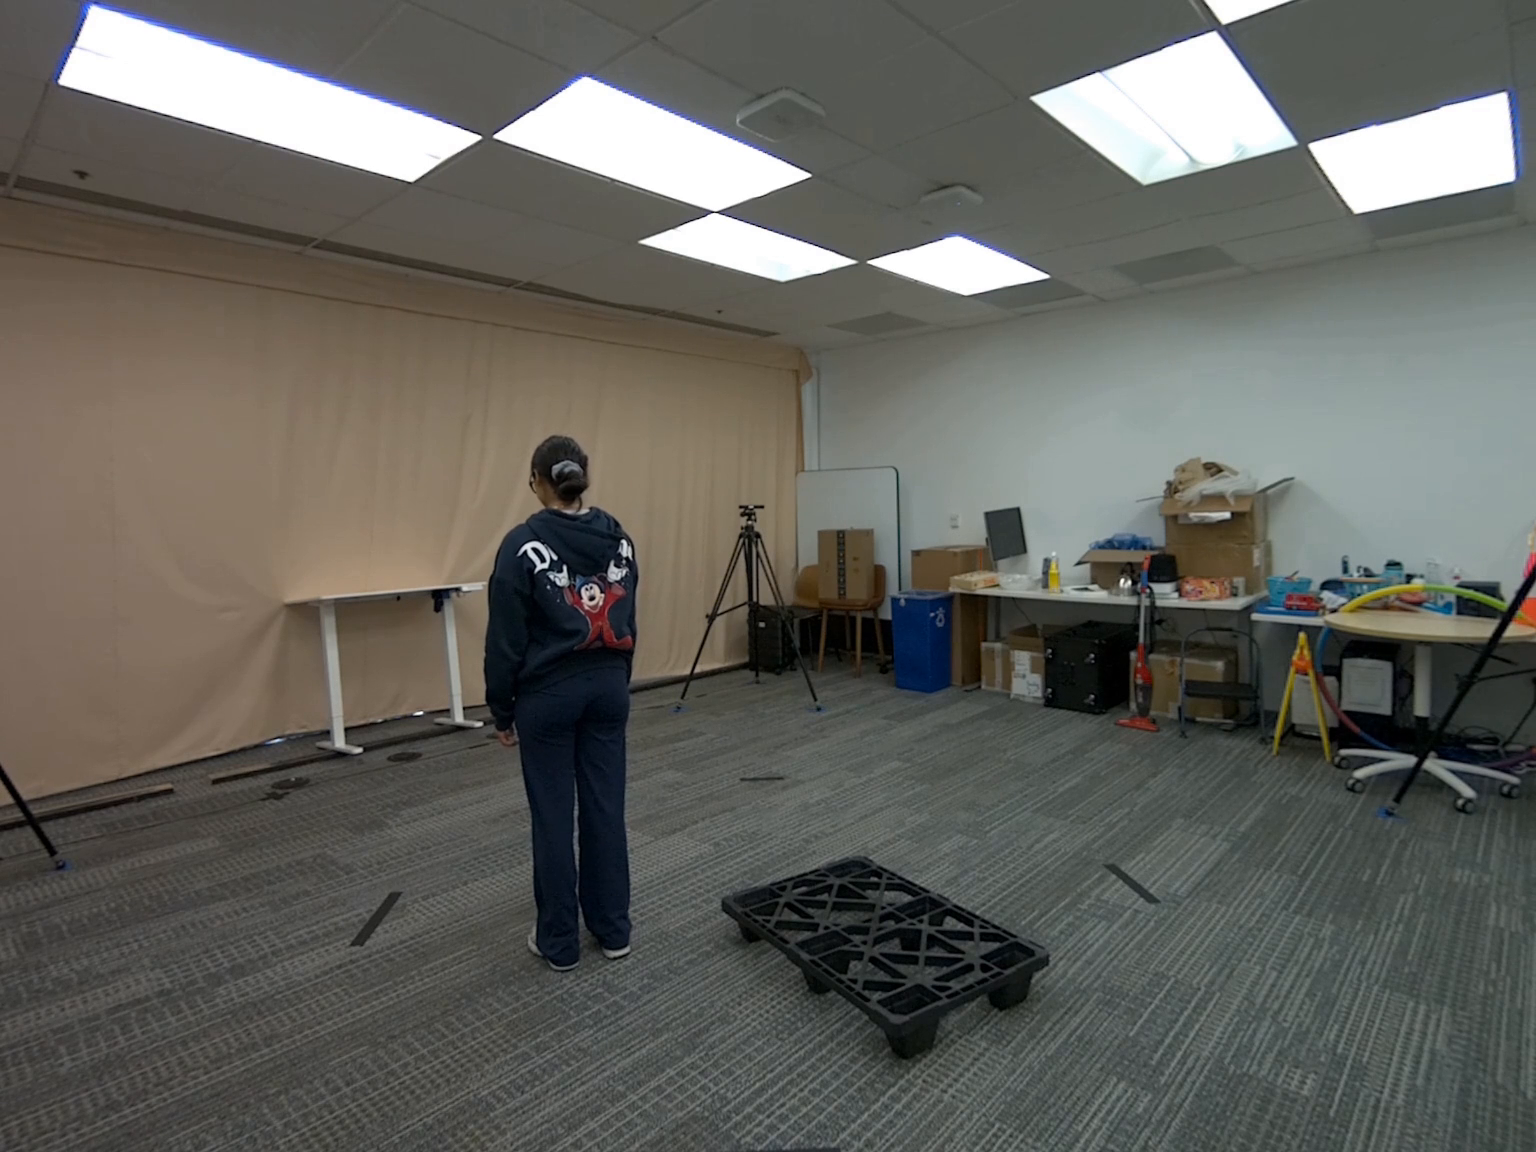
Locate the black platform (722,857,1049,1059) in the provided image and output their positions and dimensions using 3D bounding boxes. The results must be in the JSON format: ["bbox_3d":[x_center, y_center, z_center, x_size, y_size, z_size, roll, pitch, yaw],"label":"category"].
[{"bbox_3d":[0.323,1.108,2.530,0.588,0.143,0.831,-3,6,-34],"label":"black platform"}]
